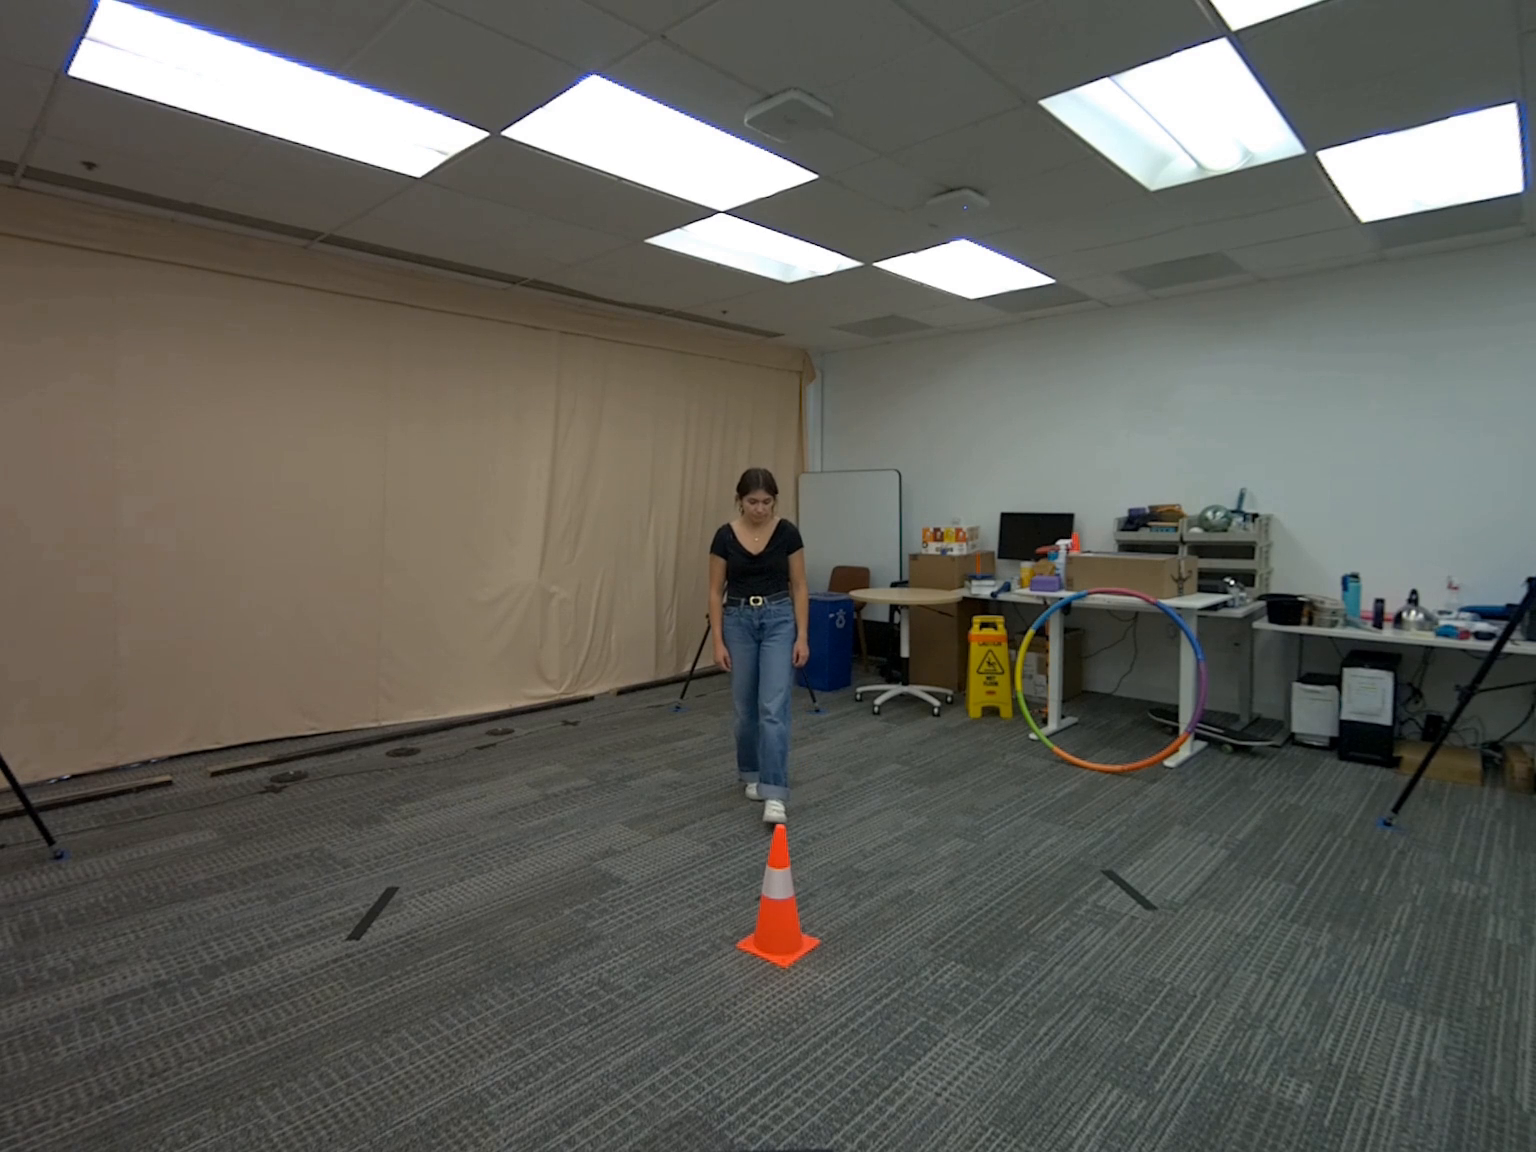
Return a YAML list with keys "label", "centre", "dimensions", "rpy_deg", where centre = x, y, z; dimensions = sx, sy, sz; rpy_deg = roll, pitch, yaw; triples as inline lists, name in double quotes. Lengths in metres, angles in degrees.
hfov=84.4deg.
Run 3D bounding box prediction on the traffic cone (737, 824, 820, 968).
- label: "traffic cone"
  centre: [0.031, 0.983, 2.671]
  dimensions: [0.210, 0.383, 0.199]
  rpy_deg: [1, 3, 36]
